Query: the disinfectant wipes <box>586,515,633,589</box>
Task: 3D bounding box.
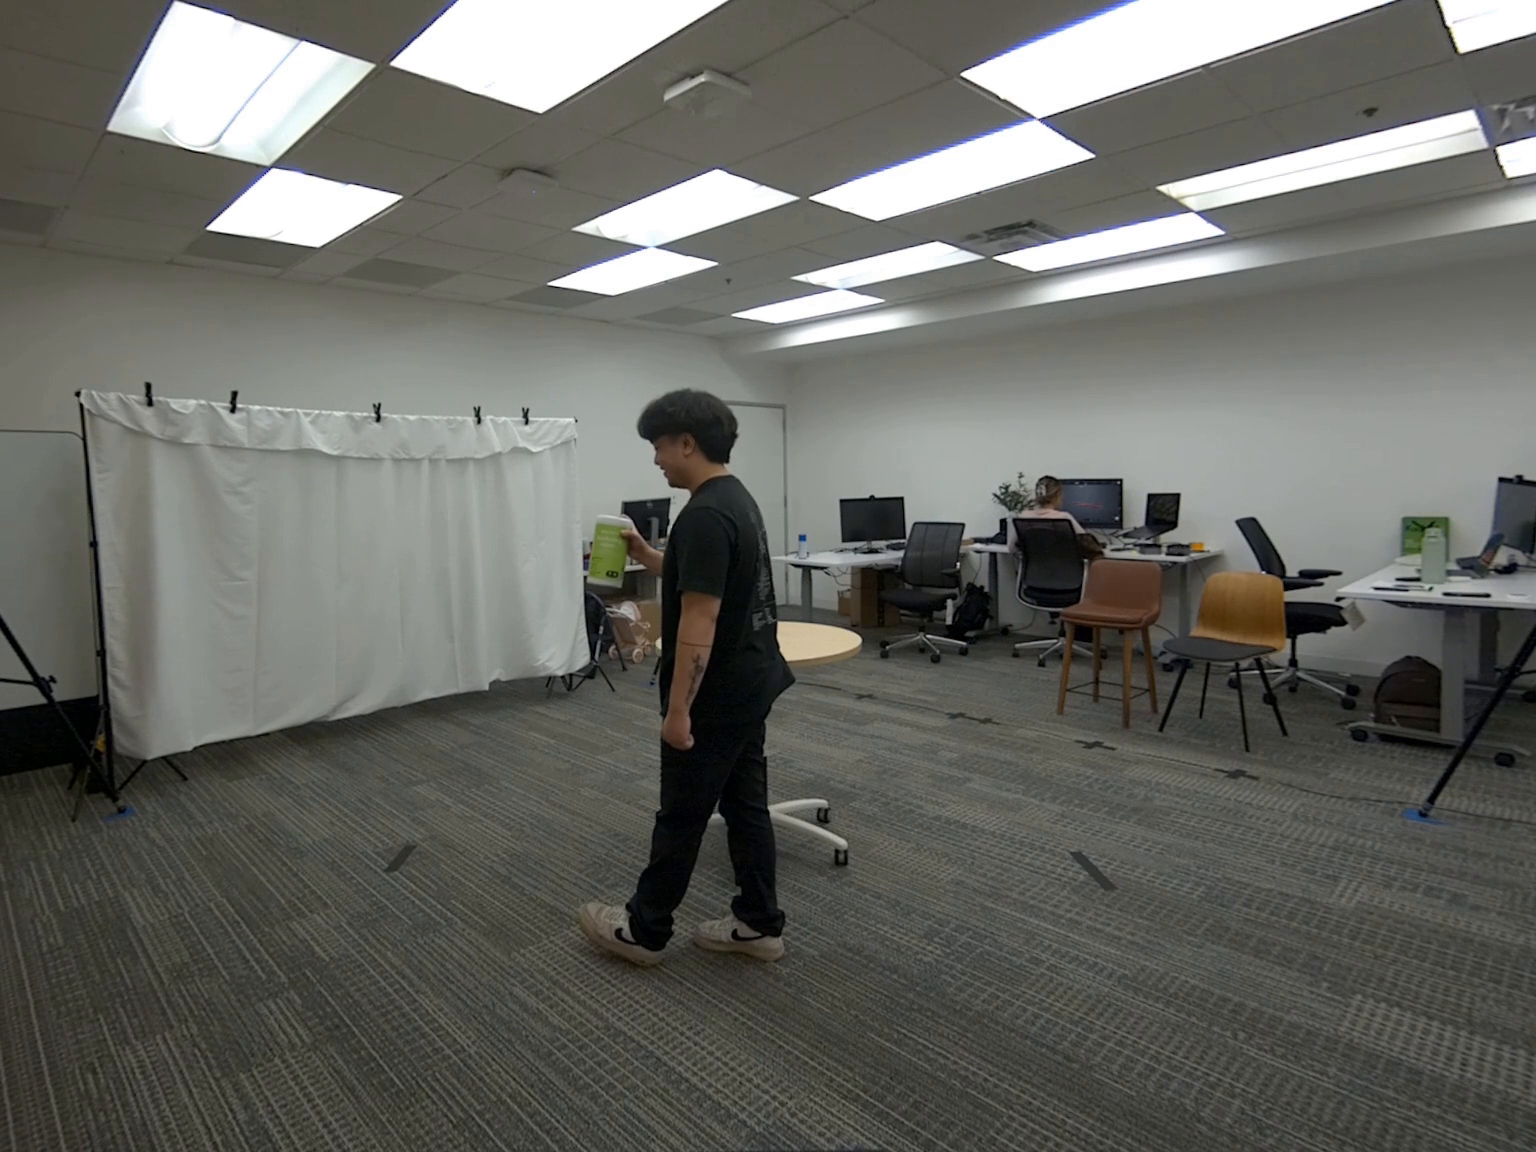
[{"bbox_3d":[-0.504,-0.076,2.665,0.118,0.218,0.117,9,-3,-1],"label":"disinfectant wipes"}]
